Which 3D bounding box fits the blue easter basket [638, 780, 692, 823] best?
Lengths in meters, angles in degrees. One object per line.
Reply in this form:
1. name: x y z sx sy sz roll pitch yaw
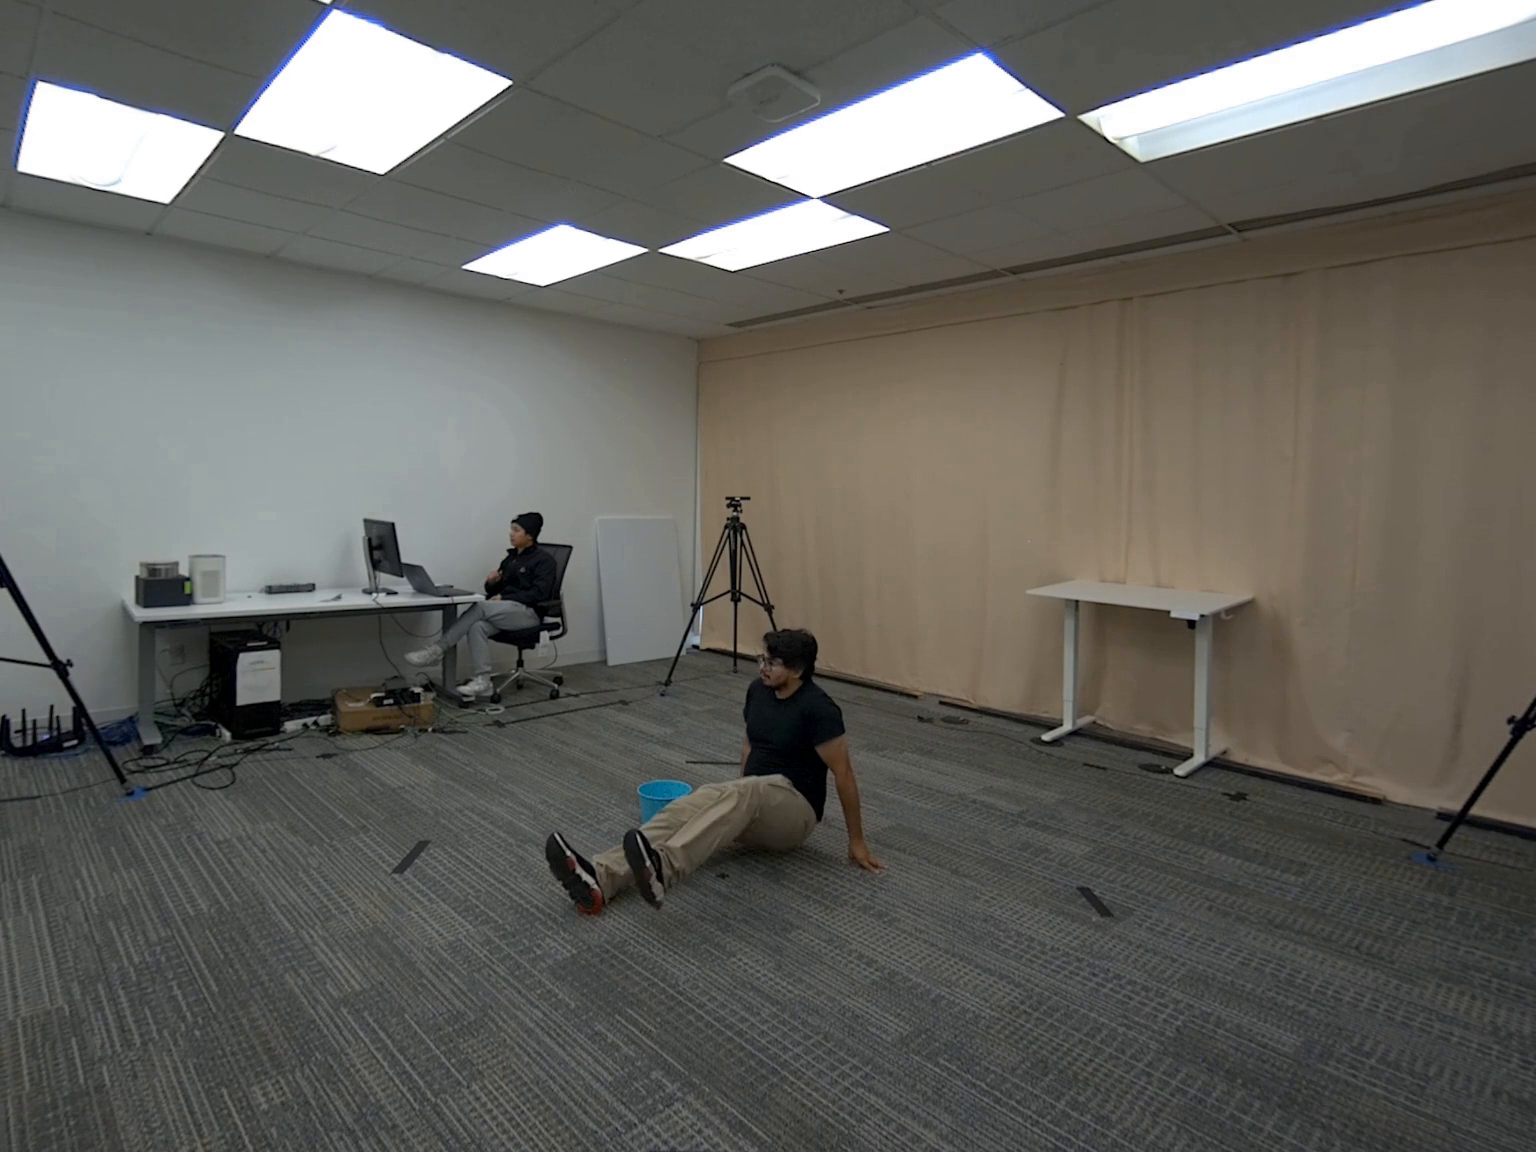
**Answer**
1. blue easter basket: -0.448 0.975 3.600 0.243 0.155 0.244 2 4 -2
